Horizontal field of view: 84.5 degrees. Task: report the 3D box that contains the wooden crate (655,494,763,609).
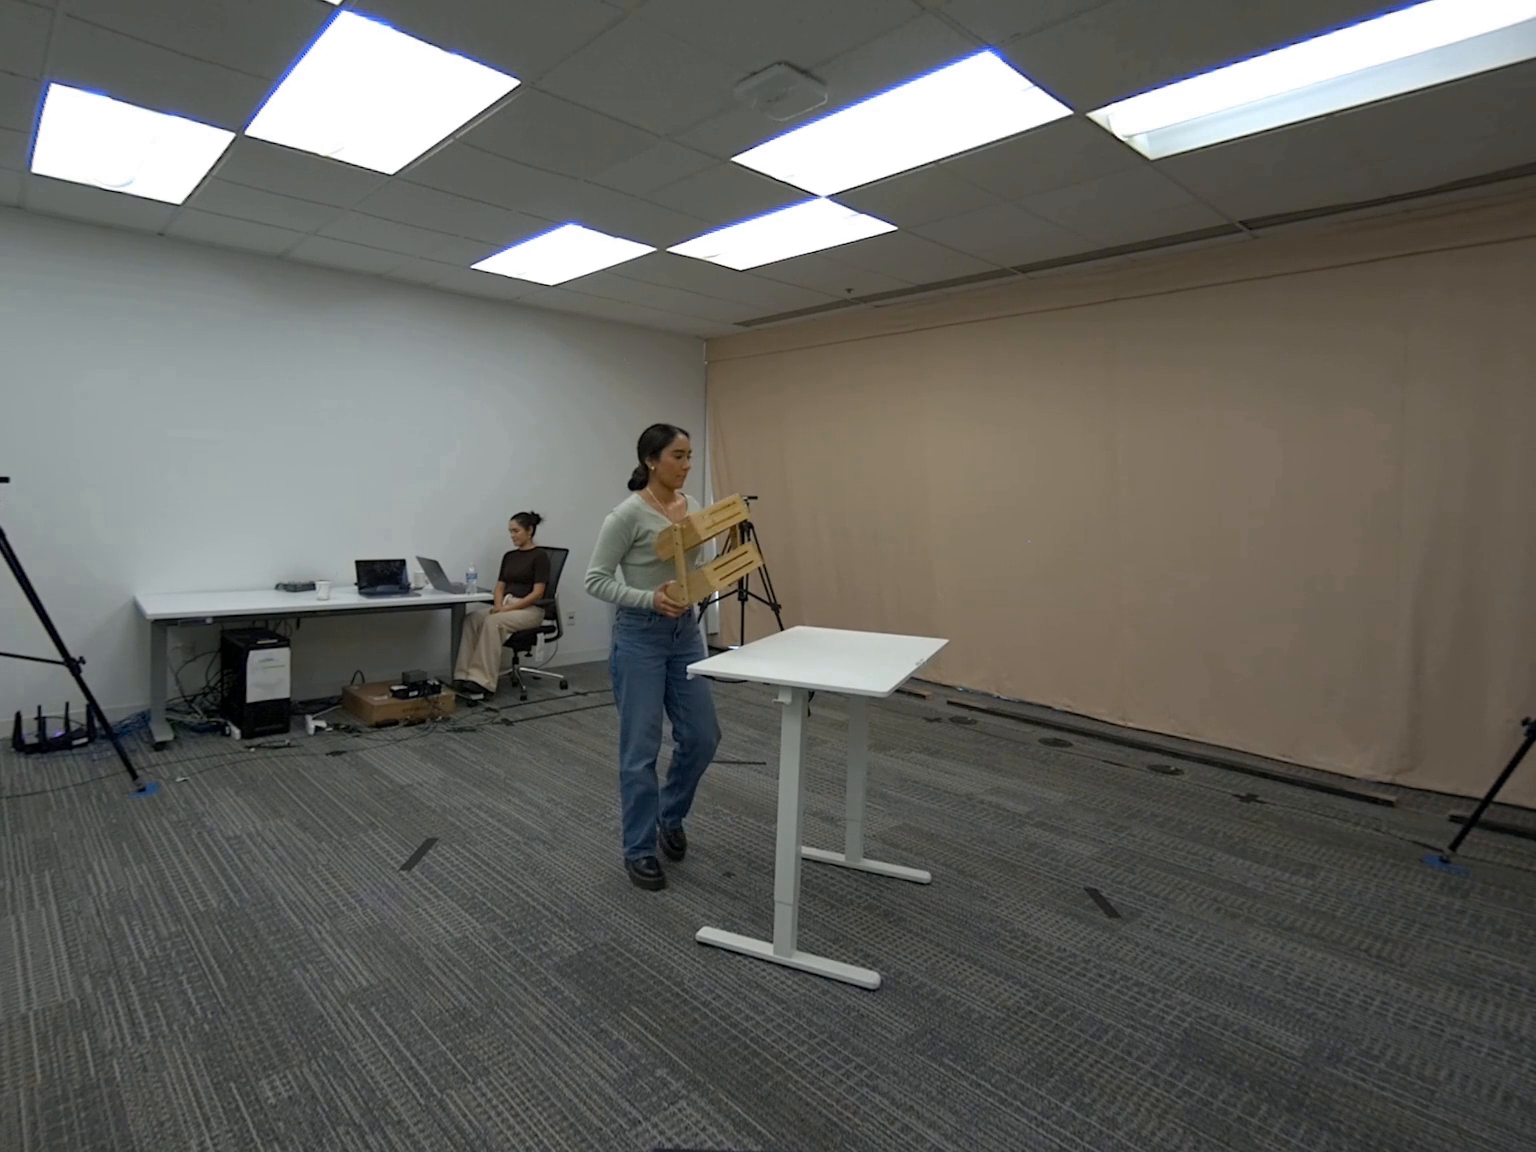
[{"bbox_3d":[-0.227,-0.079,2.882,0.305,0.273,0.321,-27,1,39],"label":"wooden crate"}]
